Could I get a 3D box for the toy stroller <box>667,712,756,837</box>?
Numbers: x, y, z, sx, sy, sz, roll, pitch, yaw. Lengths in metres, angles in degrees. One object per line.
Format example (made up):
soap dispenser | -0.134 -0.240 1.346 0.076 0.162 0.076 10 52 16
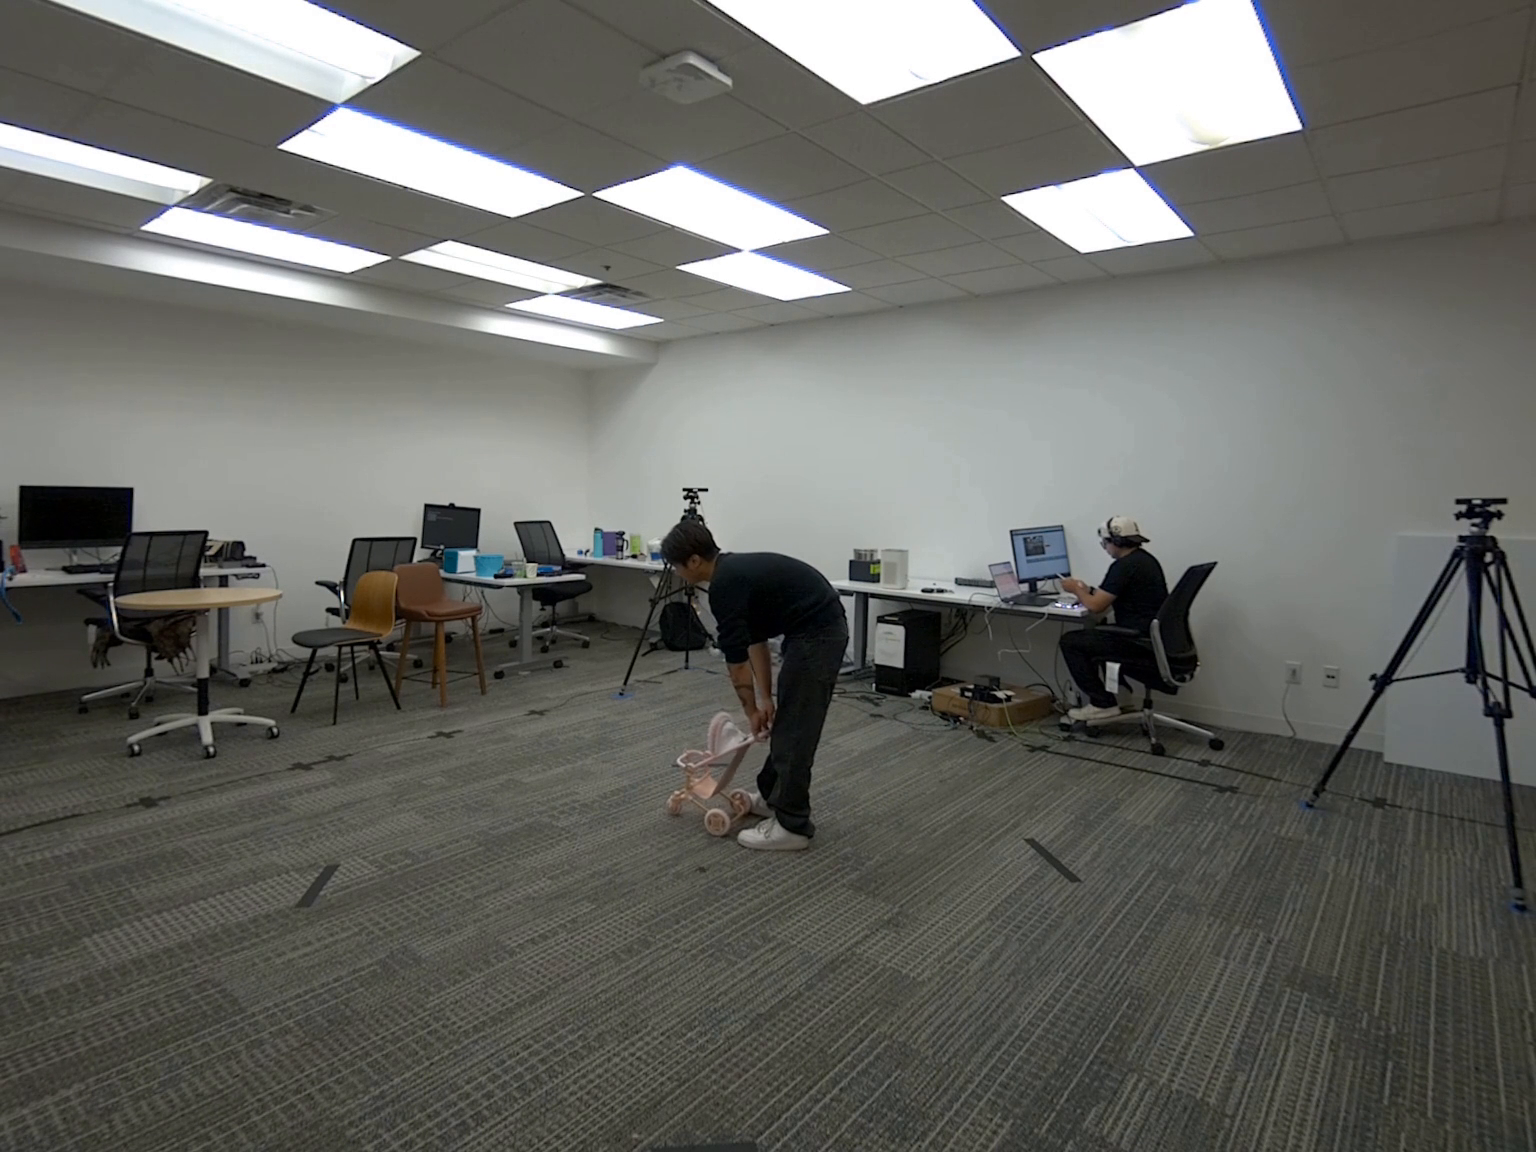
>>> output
toy stroller | -0.236 0.804 3.556 0.352 0.532 0.275 21 11 24
